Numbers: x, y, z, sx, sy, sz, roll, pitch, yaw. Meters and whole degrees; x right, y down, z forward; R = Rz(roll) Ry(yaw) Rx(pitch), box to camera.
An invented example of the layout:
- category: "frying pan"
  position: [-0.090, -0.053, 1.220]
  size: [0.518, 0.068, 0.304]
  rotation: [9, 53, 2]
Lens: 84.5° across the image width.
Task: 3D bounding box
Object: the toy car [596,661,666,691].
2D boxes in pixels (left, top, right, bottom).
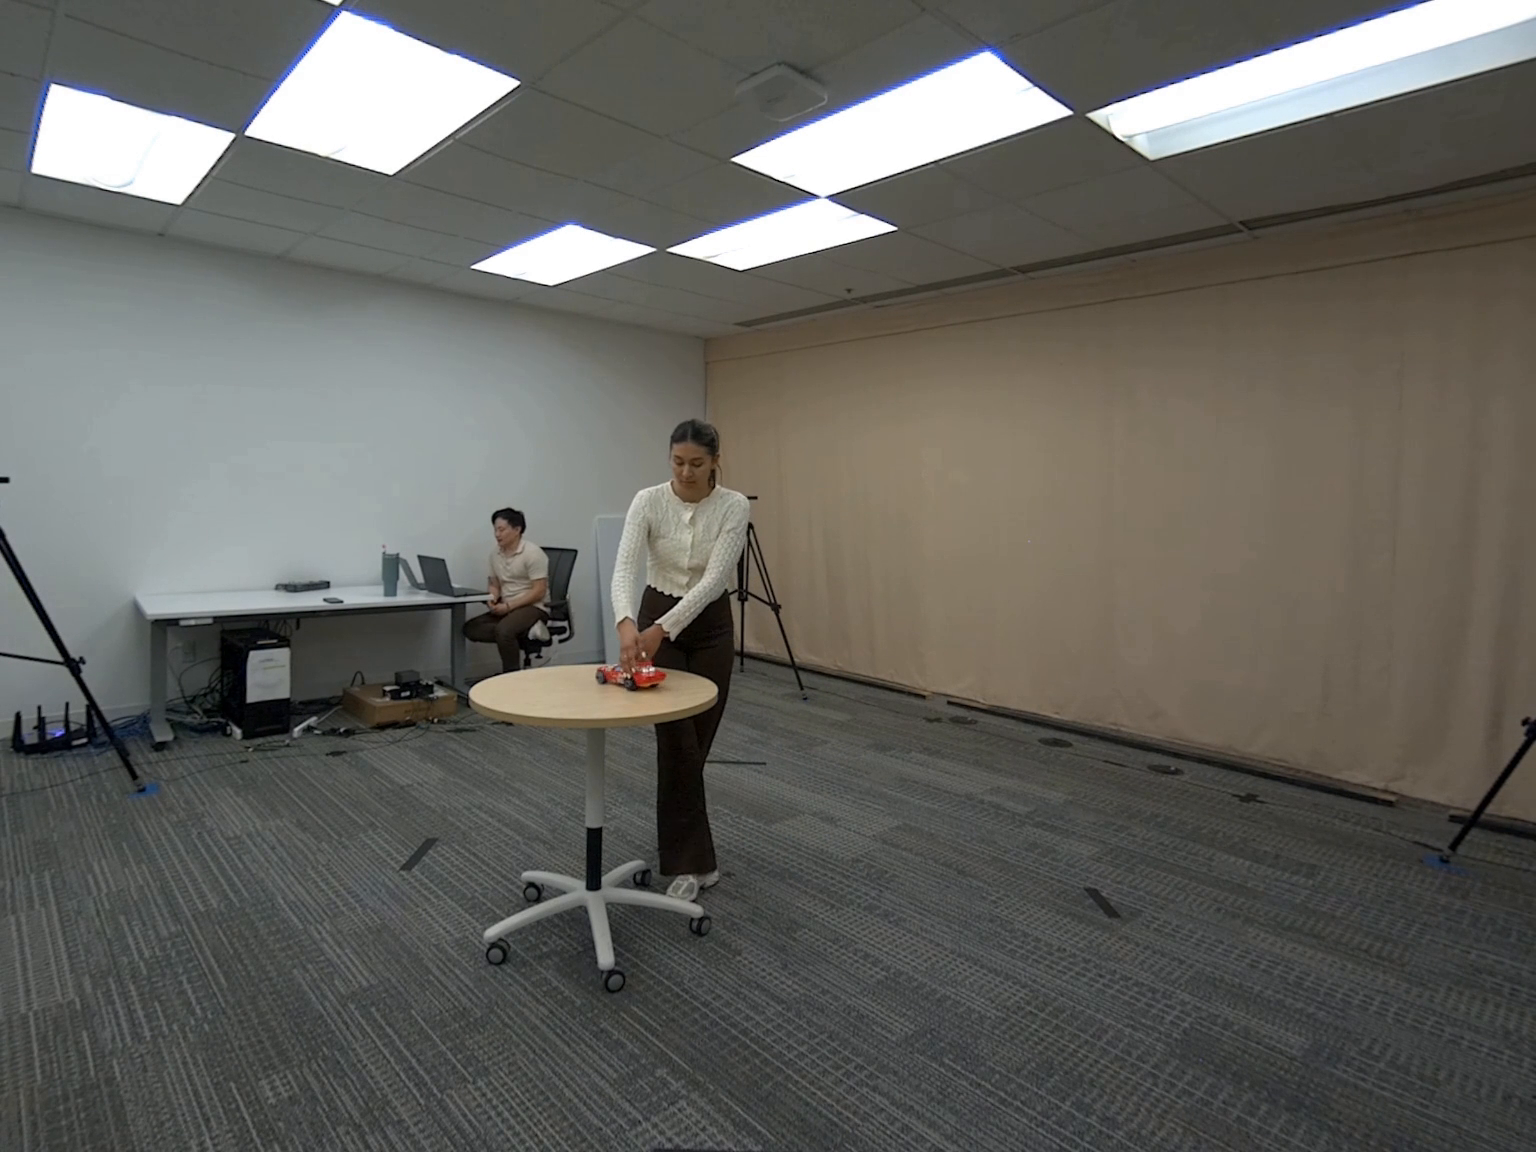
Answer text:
- category: "toy car"
  position: [-0.449, 0.321, 2.674]
  size: [0.260, 0.083, 0.127]
  rotation: [-8, -1, 41]
